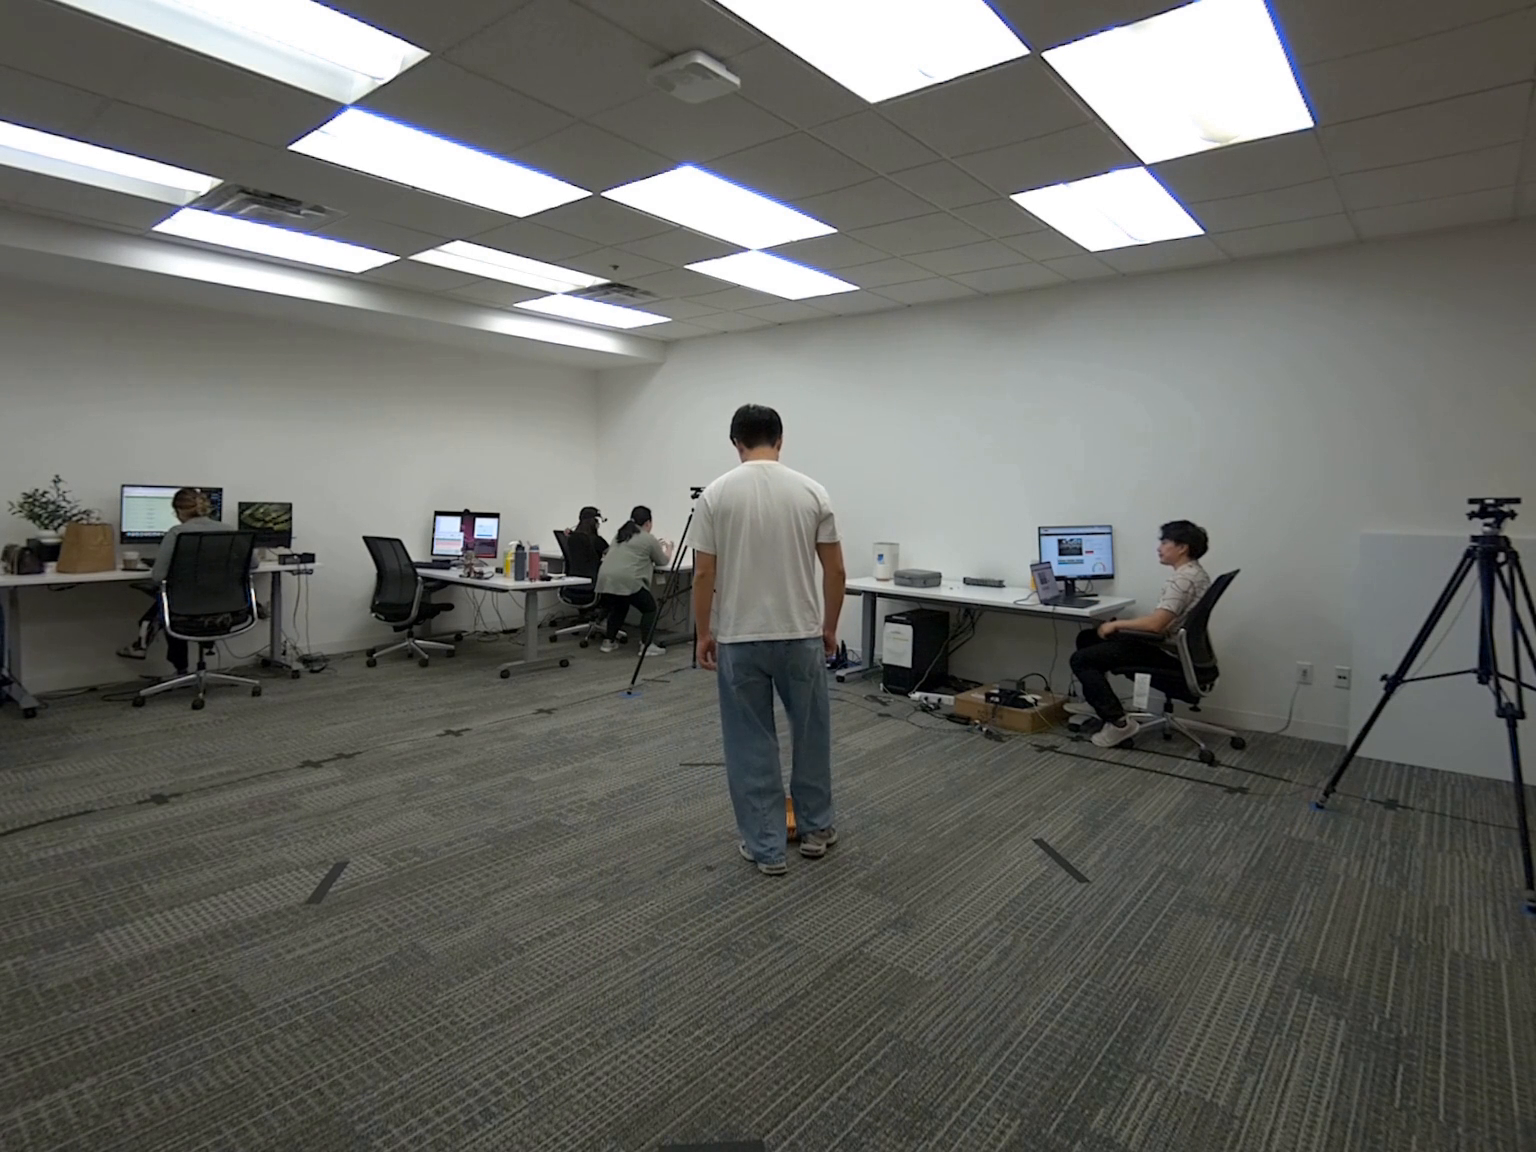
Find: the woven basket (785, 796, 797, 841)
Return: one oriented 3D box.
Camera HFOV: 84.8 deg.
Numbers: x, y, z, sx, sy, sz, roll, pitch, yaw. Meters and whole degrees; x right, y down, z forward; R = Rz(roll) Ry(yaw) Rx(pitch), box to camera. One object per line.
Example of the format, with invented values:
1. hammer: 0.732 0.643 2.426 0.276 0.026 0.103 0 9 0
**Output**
1. woven basket: 0.060 0.987 3.504 0.259 0.073 0.343 3 6 24
